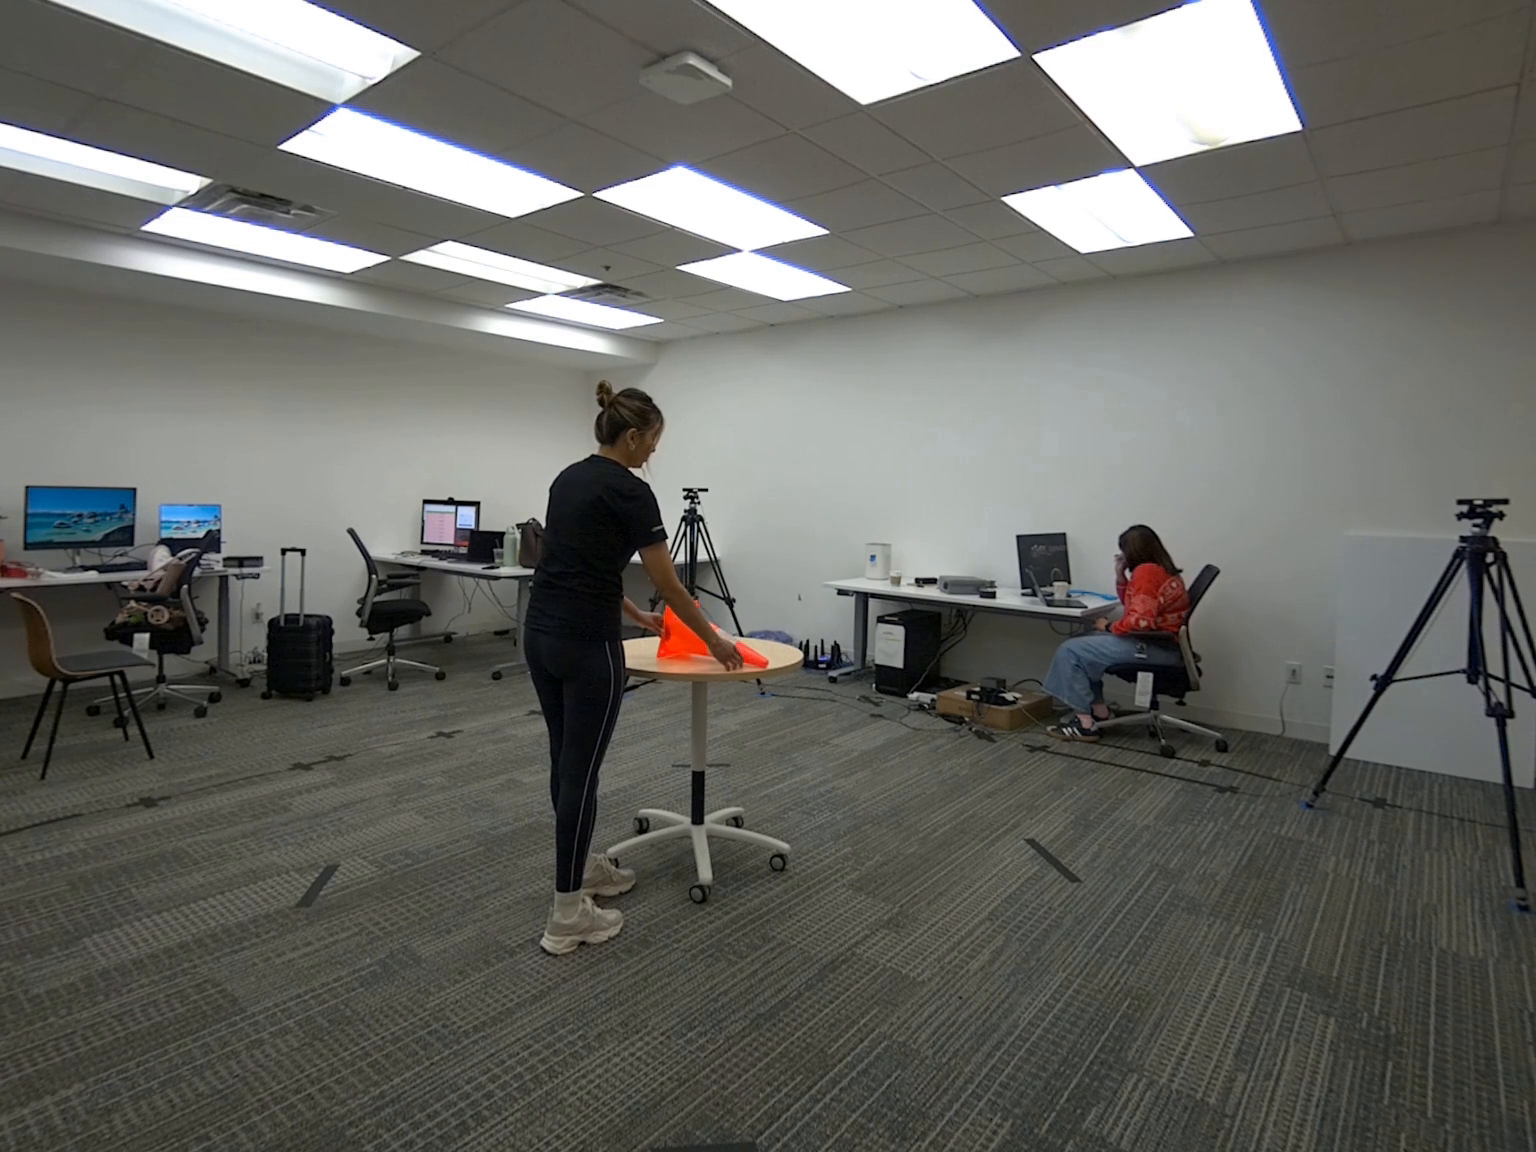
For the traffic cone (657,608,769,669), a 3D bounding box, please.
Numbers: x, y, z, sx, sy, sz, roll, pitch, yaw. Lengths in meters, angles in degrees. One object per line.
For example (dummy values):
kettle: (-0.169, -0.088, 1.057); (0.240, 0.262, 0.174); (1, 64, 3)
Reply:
traffic cone: (-0.175, 0.245, 2.969); (0.397, 0.203, 0.198); (19, 13, 31)
